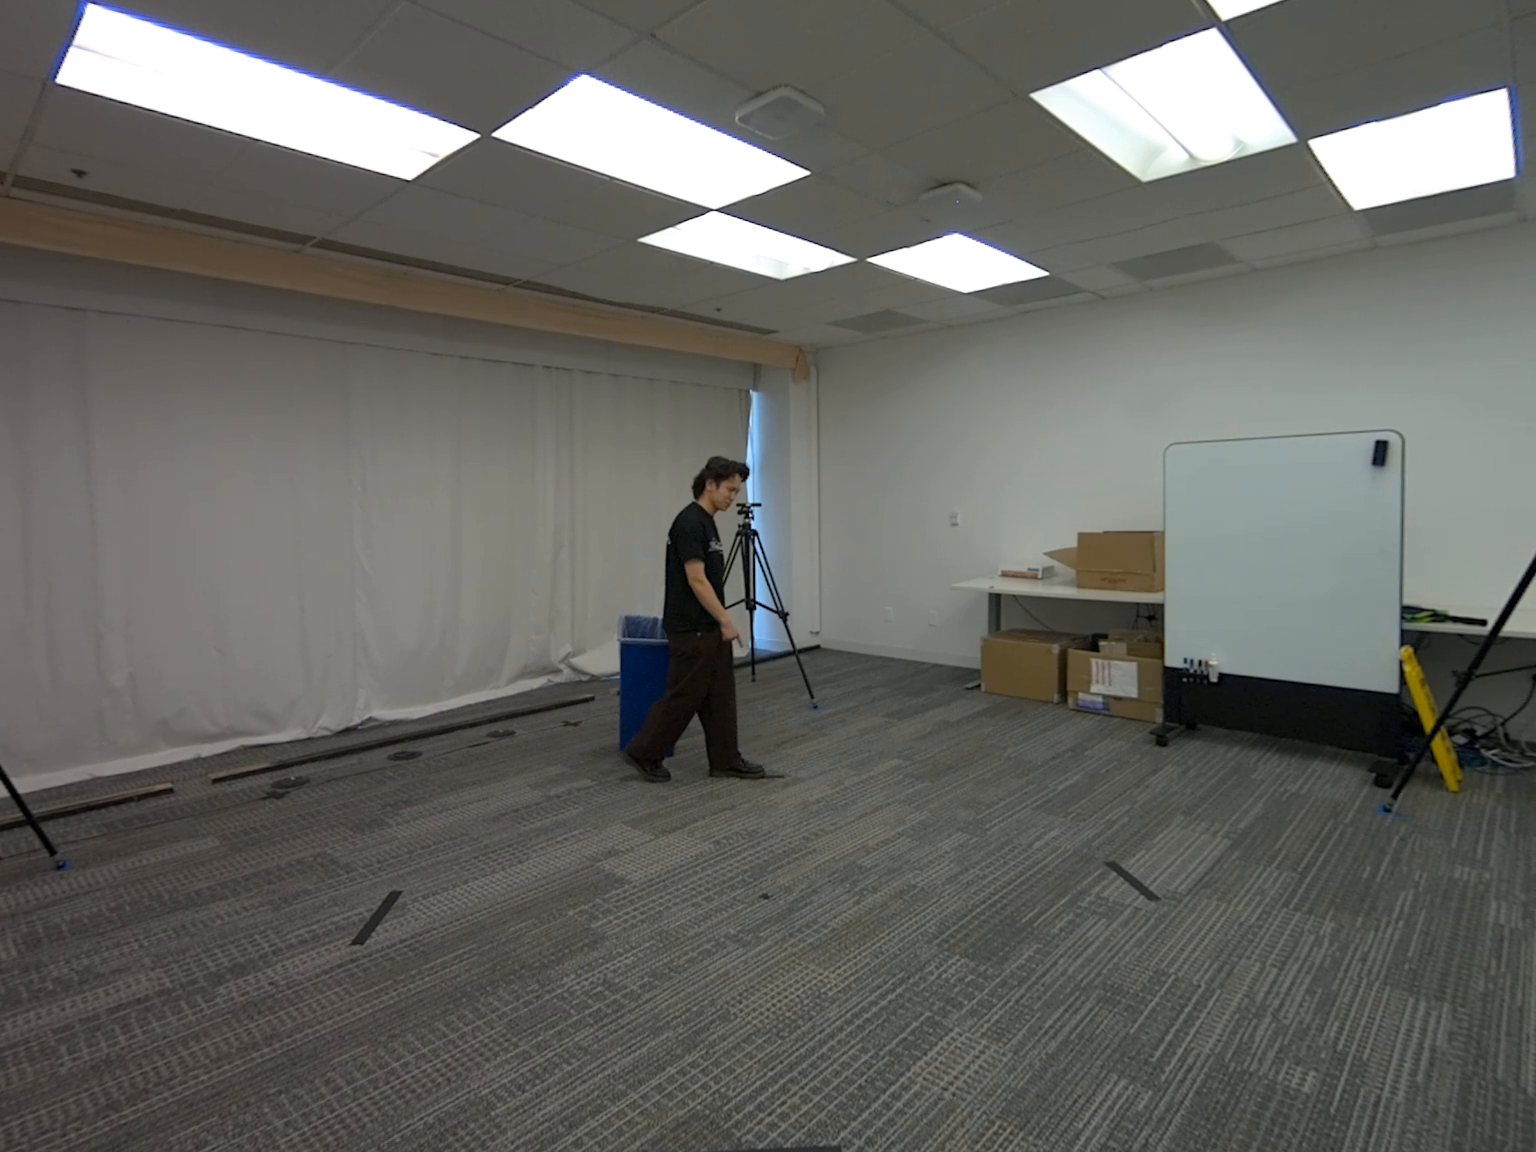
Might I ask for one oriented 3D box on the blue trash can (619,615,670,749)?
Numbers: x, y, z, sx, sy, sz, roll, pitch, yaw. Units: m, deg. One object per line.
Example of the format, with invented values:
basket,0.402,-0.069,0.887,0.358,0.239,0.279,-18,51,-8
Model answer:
blue trash can,-0.667,0.624,4.714,0.374,0.707,0.381,1,16,-9
